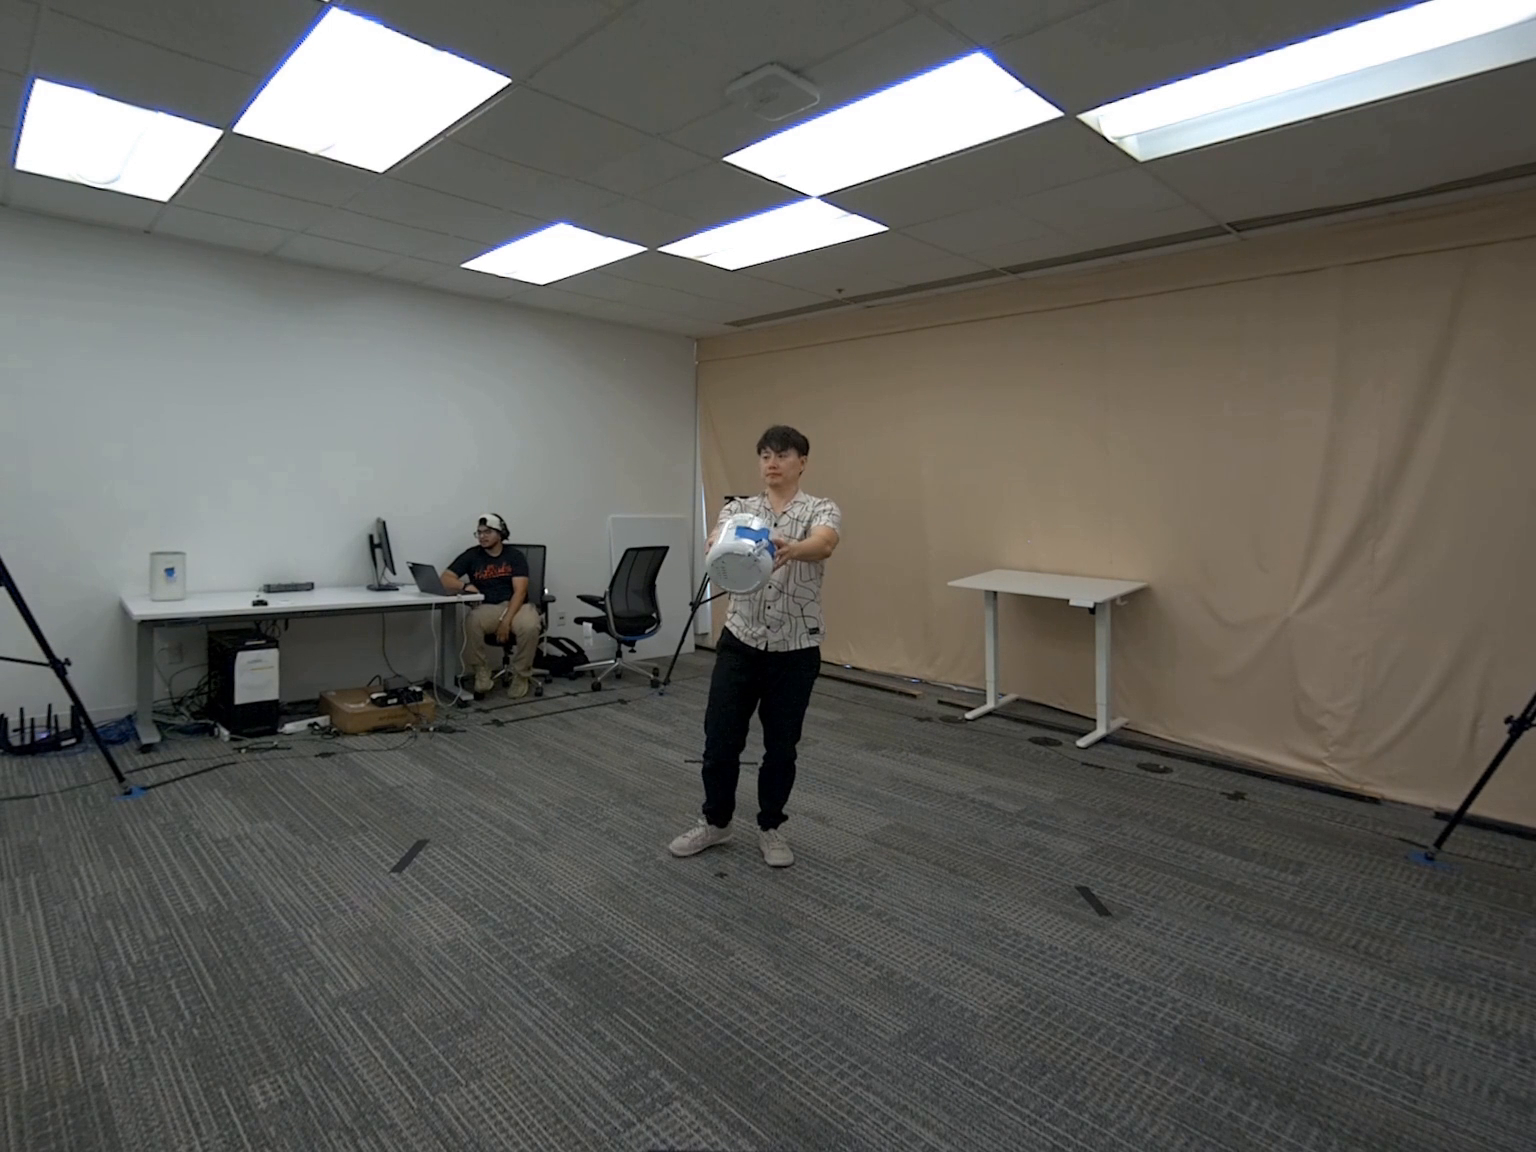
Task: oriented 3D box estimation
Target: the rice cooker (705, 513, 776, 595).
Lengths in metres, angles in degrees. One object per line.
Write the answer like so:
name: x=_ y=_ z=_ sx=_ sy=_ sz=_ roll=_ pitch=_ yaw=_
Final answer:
rice cooker: x=-0.092 y=-0.073 z=2.717 sx=0.220 sy=0.215 sz=0.235 roll=0 pitch=33 yaw=15
